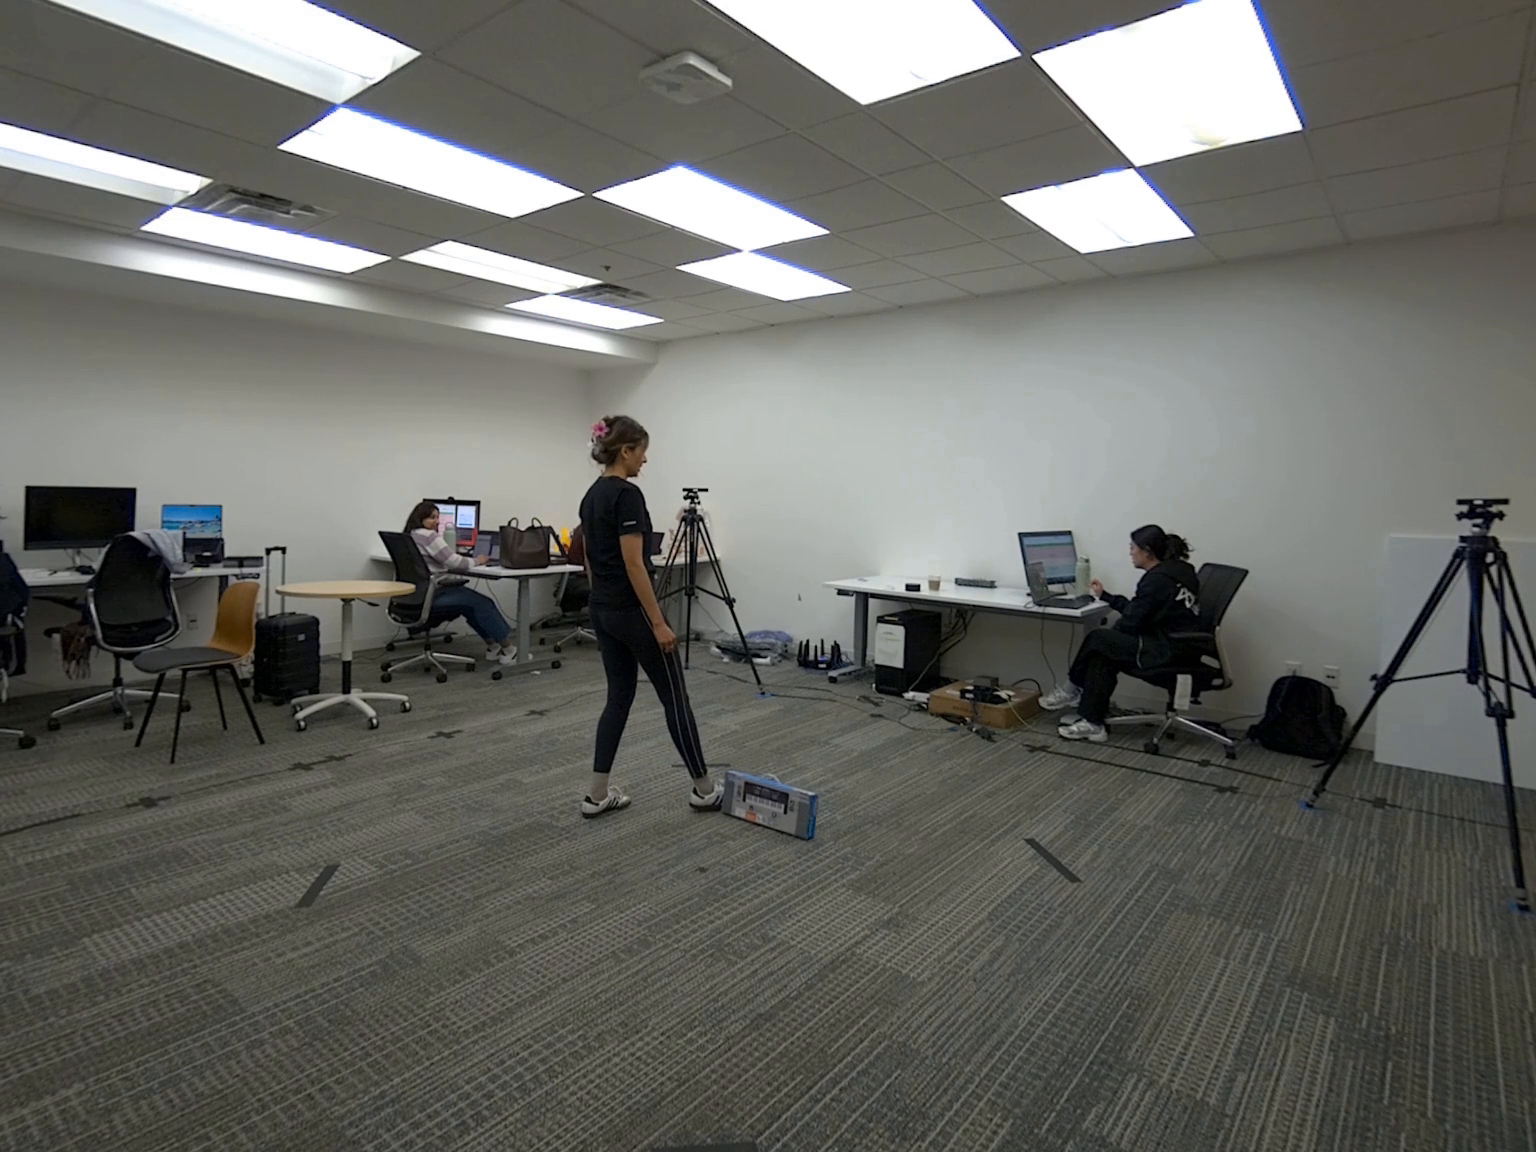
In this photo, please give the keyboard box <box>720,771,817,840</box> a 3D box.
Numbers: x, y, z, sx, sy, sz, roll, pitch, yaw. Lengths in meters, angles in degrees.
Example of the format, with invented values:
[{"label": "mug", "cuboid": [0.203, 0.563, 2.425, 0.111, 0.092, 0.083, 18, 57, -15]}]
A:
[{"label": "keyboard box", "cuboid": [-0.009, 0.945, 3.541, 0.451, 0.176, 0.057, 5, -4, 37]}]
